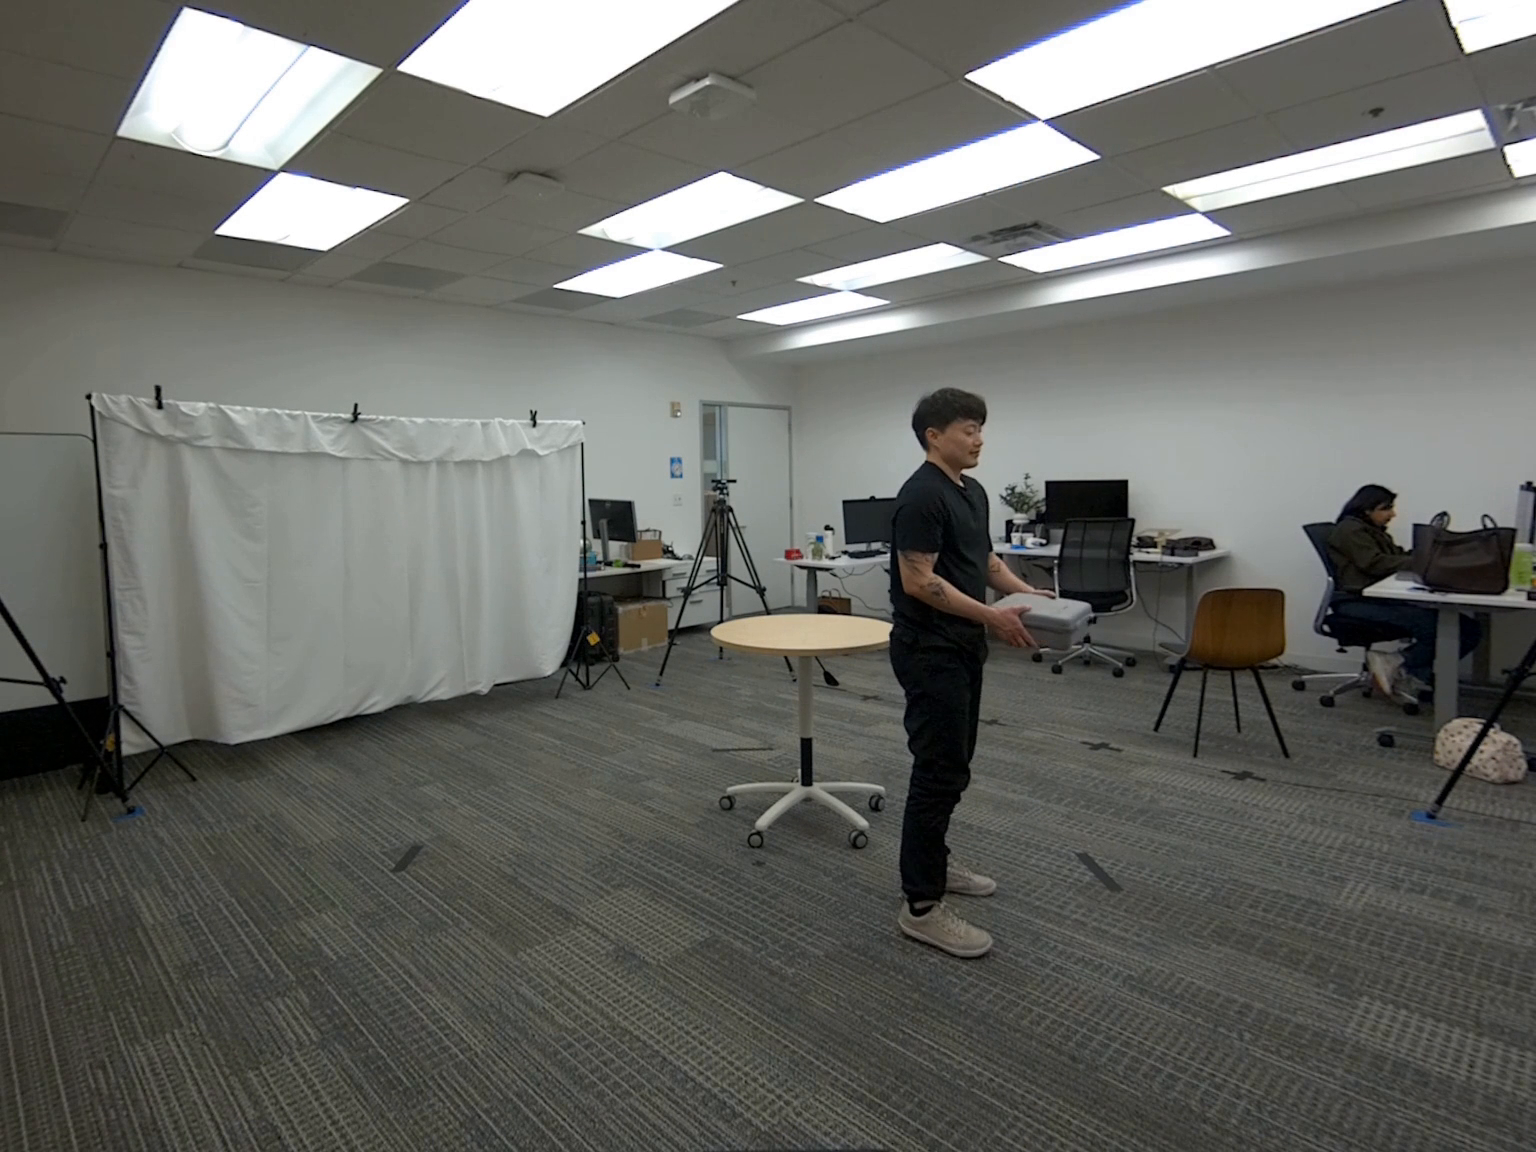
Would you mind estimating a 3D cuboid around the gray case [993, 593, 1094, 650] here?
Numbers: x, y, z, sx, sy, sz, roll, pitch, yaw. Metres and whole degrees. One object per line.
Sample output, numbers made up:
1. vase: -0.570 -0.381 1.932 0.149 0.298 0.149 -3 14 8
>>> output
1. gray case: 0.819 0.135 2.609 0.268 0.103 0.252 7 15 35
